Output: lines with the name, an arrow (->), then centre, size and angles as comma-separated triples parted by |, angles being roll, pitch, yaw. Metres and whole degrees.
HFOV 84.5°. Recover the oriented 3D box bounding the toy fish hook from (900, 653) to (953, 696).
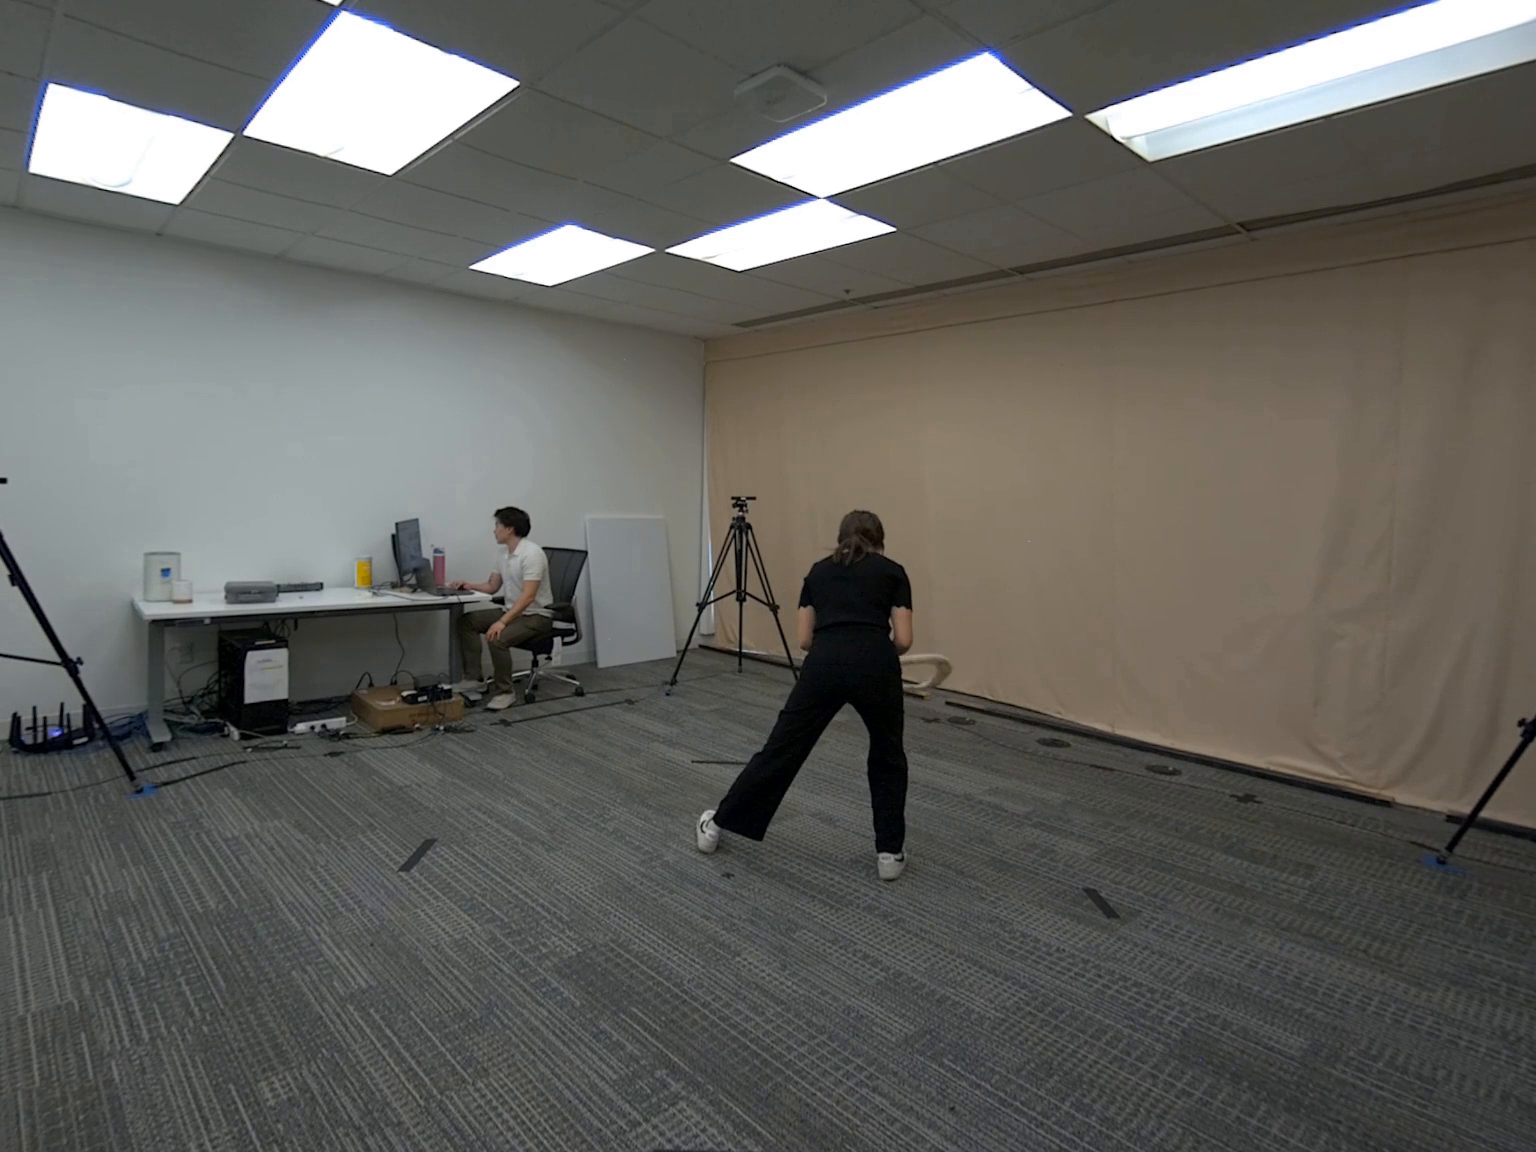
toy fish hook -> 0.514, 0.397, 3.487 | 0.497, 0.222, 0.050 | 9, 32, -24
